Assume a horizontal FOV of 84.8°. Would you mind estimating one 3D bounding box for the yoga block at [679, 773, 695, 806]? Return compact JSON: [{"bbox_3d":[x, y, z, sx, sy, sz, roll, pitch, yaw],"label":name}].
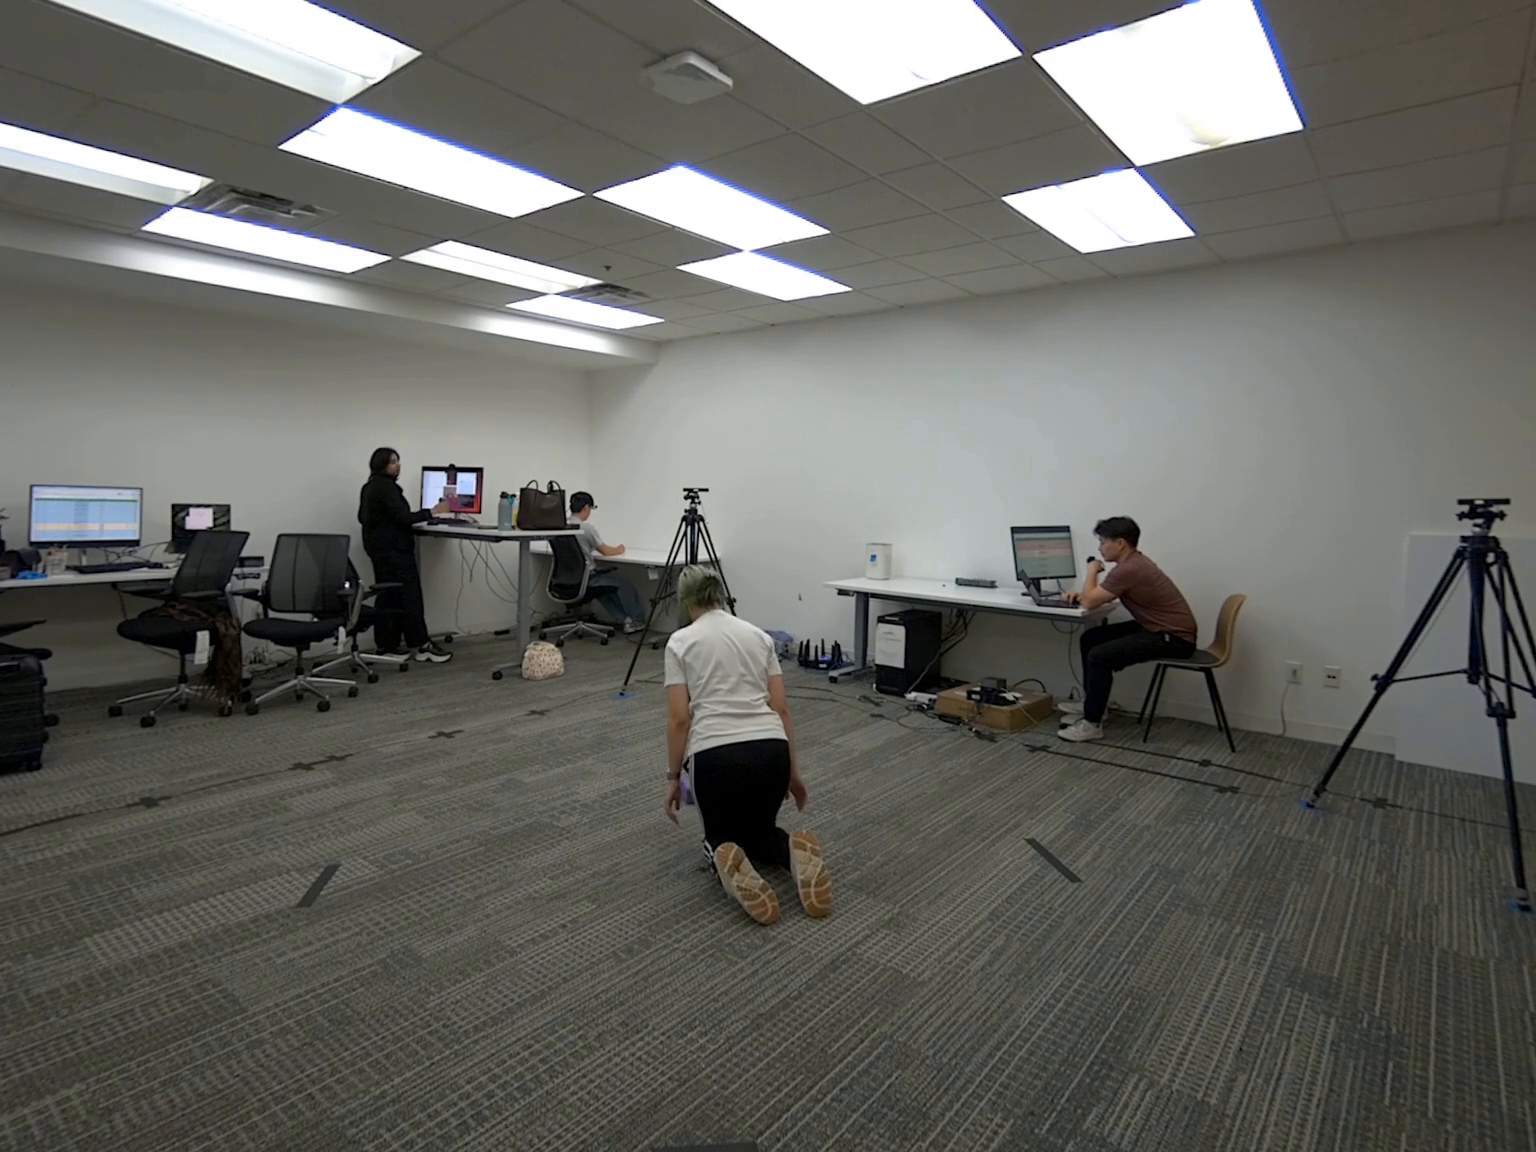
[{"bbox_3d":[-0.275,0.952,3.837,0.226,0.076,0.152,-2,6,-15],"label":"yoga block"}]
